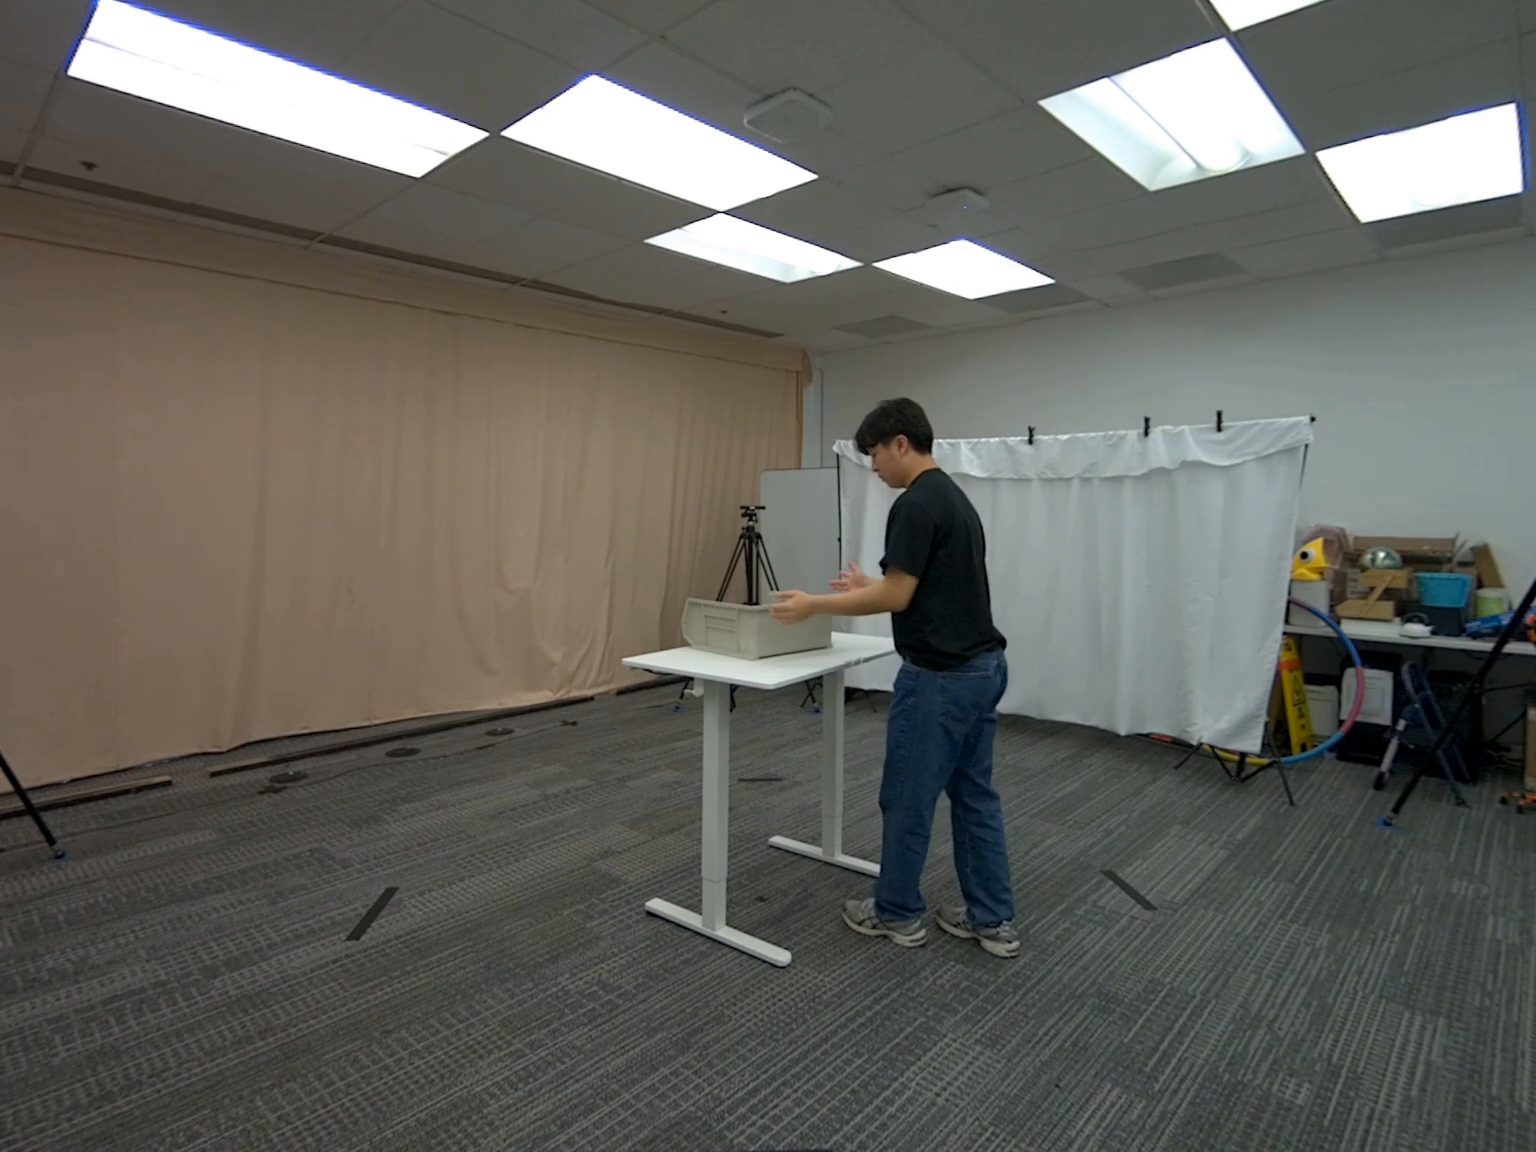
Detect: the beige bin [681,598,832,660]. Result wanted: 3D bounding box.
[{"bbox_3d":[-0.032,0.169,3.018,0.409,0.188,0.390,-3,6,-43],"label":"beige bin"}]
